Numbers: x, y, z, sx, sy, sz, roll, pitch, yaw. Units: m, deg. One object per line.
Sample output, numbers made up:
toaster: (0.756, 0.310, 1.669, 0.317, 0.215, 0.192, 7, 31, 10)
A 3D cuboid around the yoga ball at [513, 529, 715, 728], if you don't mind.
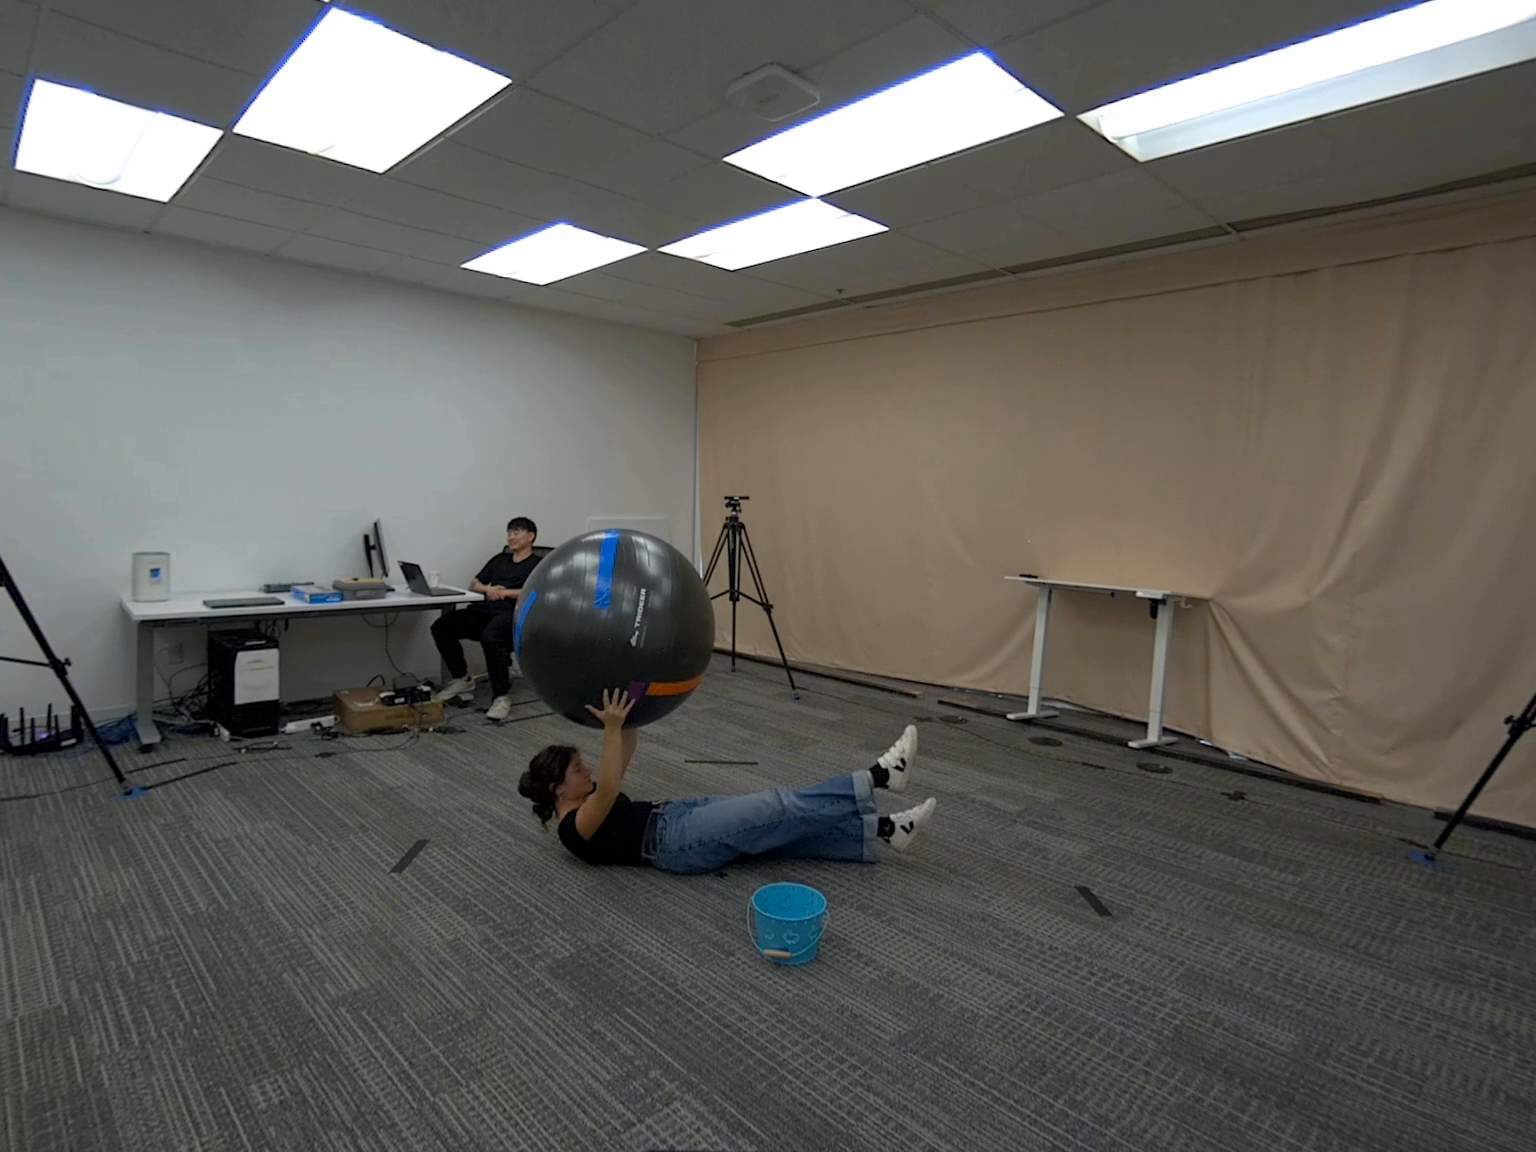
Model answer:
yoga ball: (-0.579, 0.204, 3.189, 0.757, 0.756, 0.761, 1, 4, -1)
